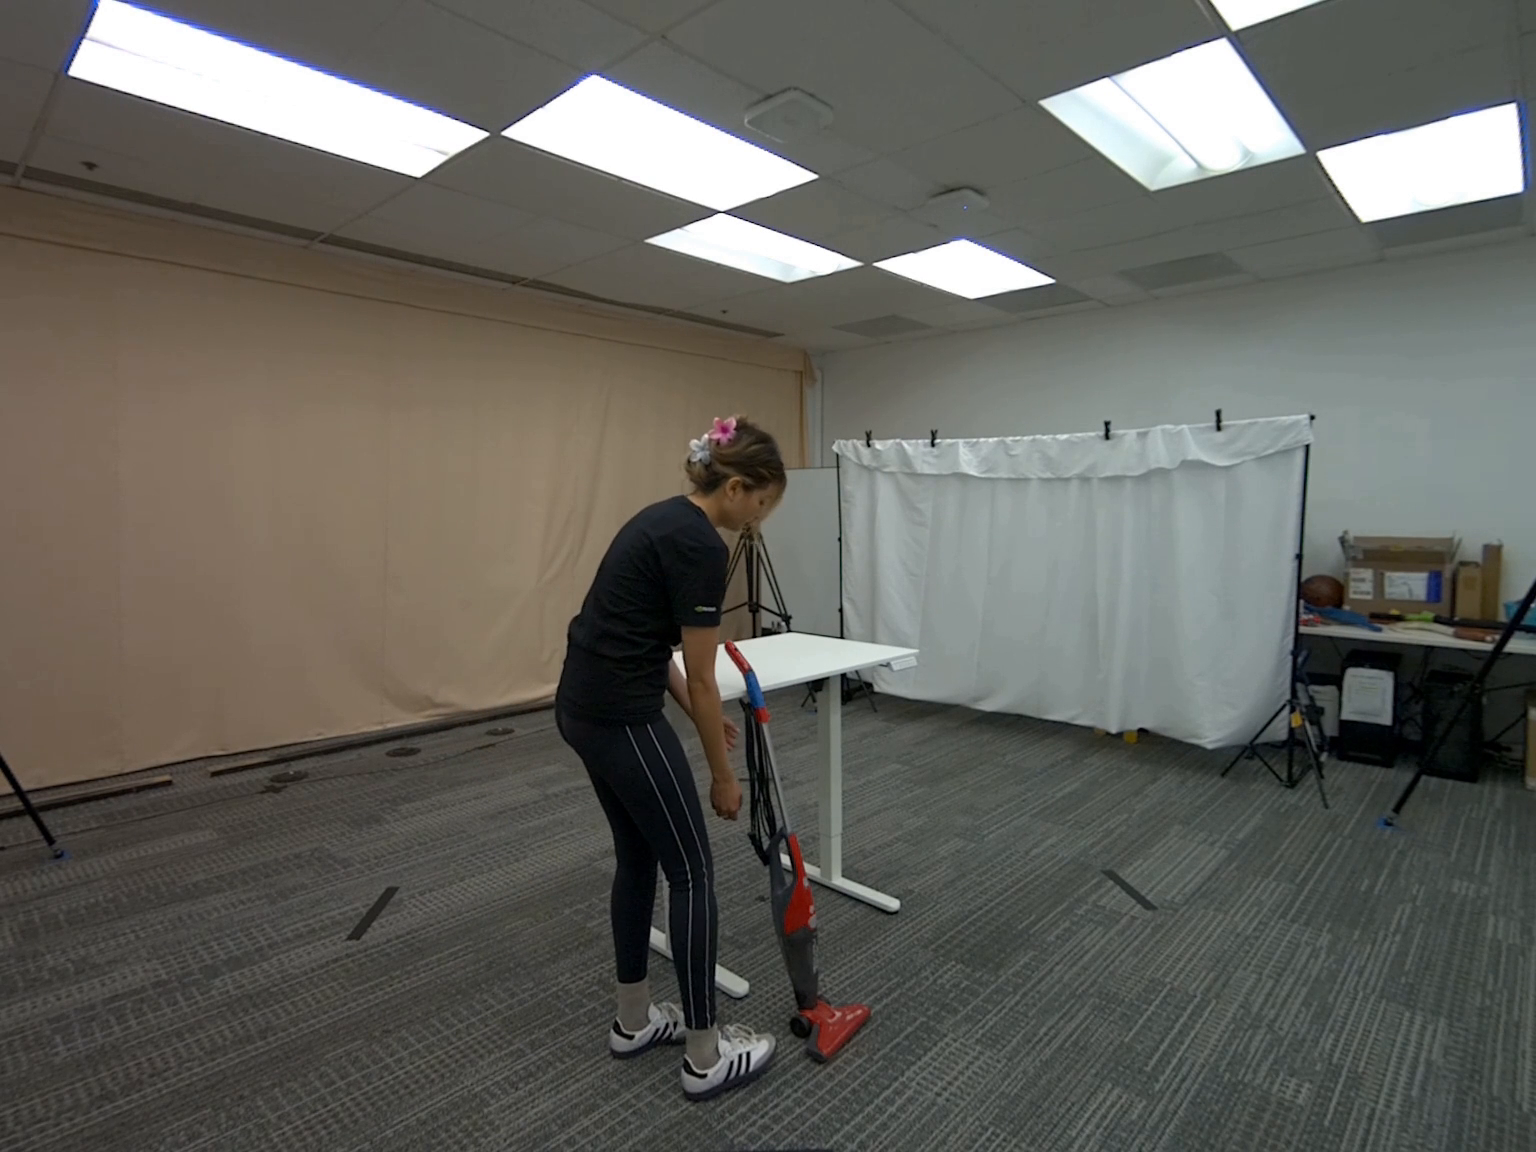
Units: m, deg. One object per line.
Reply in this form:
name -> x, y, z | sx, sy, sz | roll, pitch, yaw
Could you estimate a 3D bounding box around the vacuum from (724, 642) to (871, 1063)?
vacuum -> 0.029, 0.706, 2.294 | 0.147, 1.058, 0.245 | -21, -11, 34
